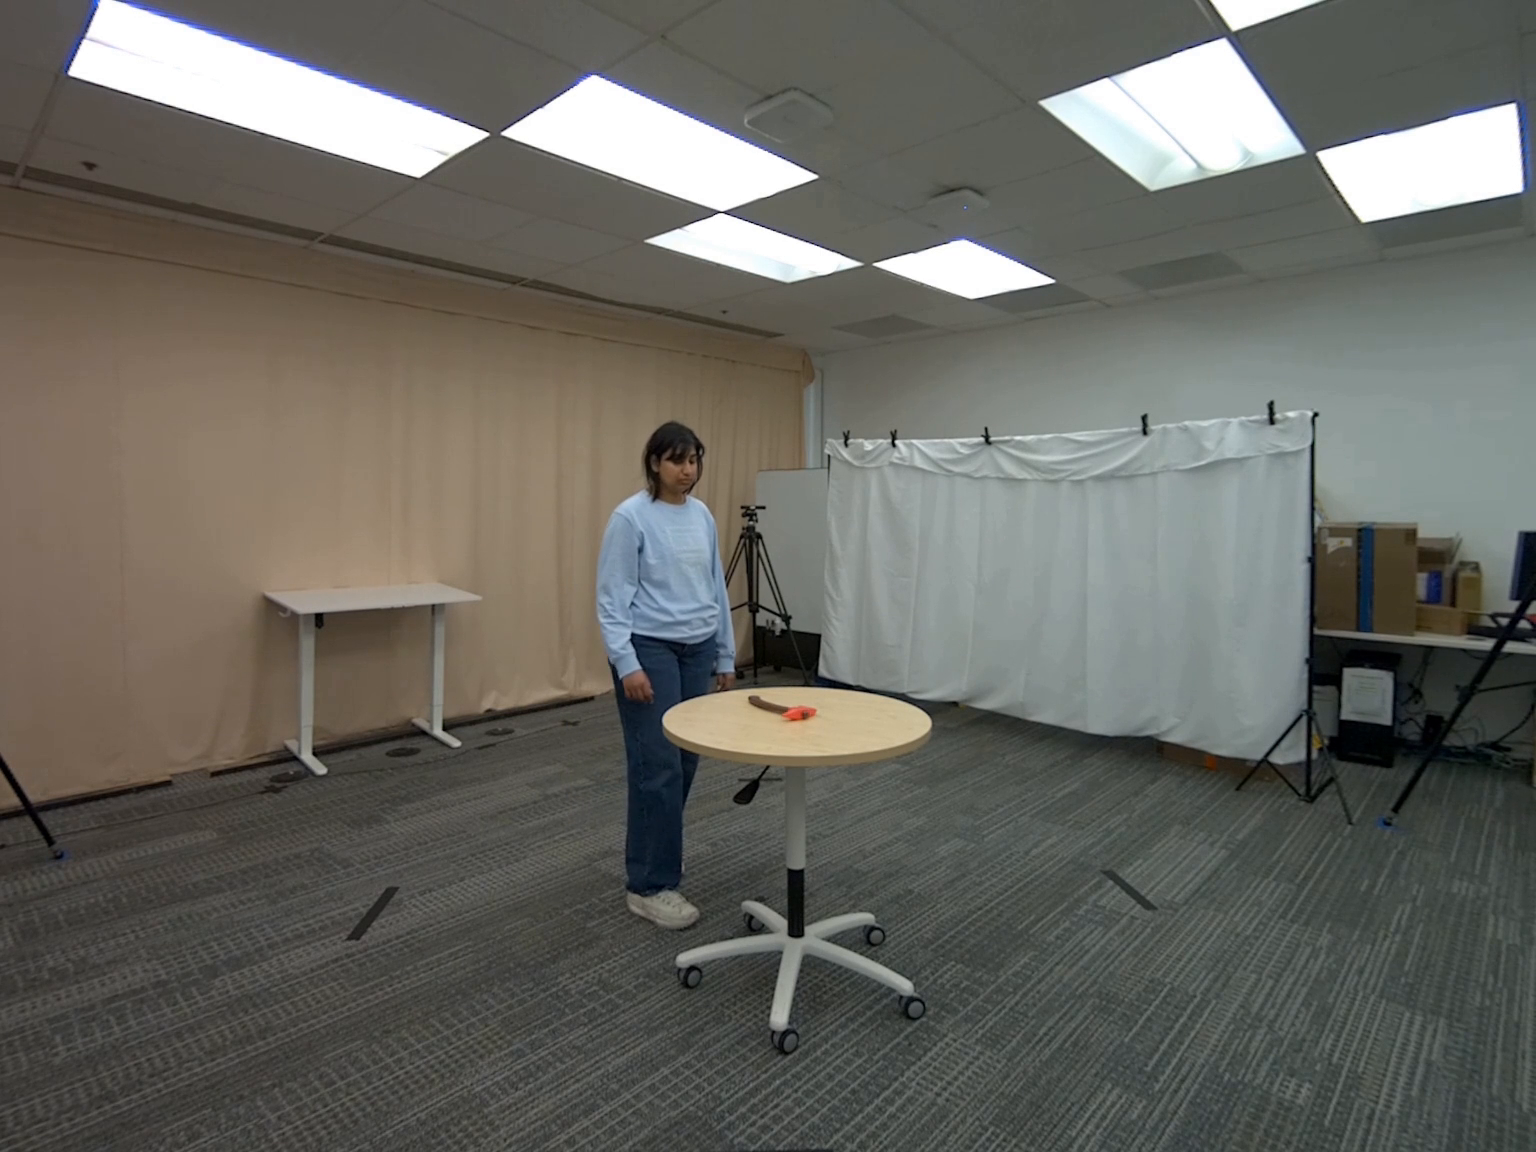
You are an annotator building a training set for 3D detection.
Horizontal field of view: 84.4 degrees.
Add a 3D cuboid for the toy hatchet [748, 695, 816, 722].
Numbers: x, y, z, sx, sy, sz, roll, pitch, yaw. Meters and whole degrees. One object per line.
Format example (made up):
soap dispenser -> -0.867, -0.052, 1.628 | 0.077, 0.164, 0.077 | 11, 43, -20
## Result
toy hatchet -> 0.051, 0.387, 2.501 | 0.128, 0.029, 0.276 | -3, 5, -22
